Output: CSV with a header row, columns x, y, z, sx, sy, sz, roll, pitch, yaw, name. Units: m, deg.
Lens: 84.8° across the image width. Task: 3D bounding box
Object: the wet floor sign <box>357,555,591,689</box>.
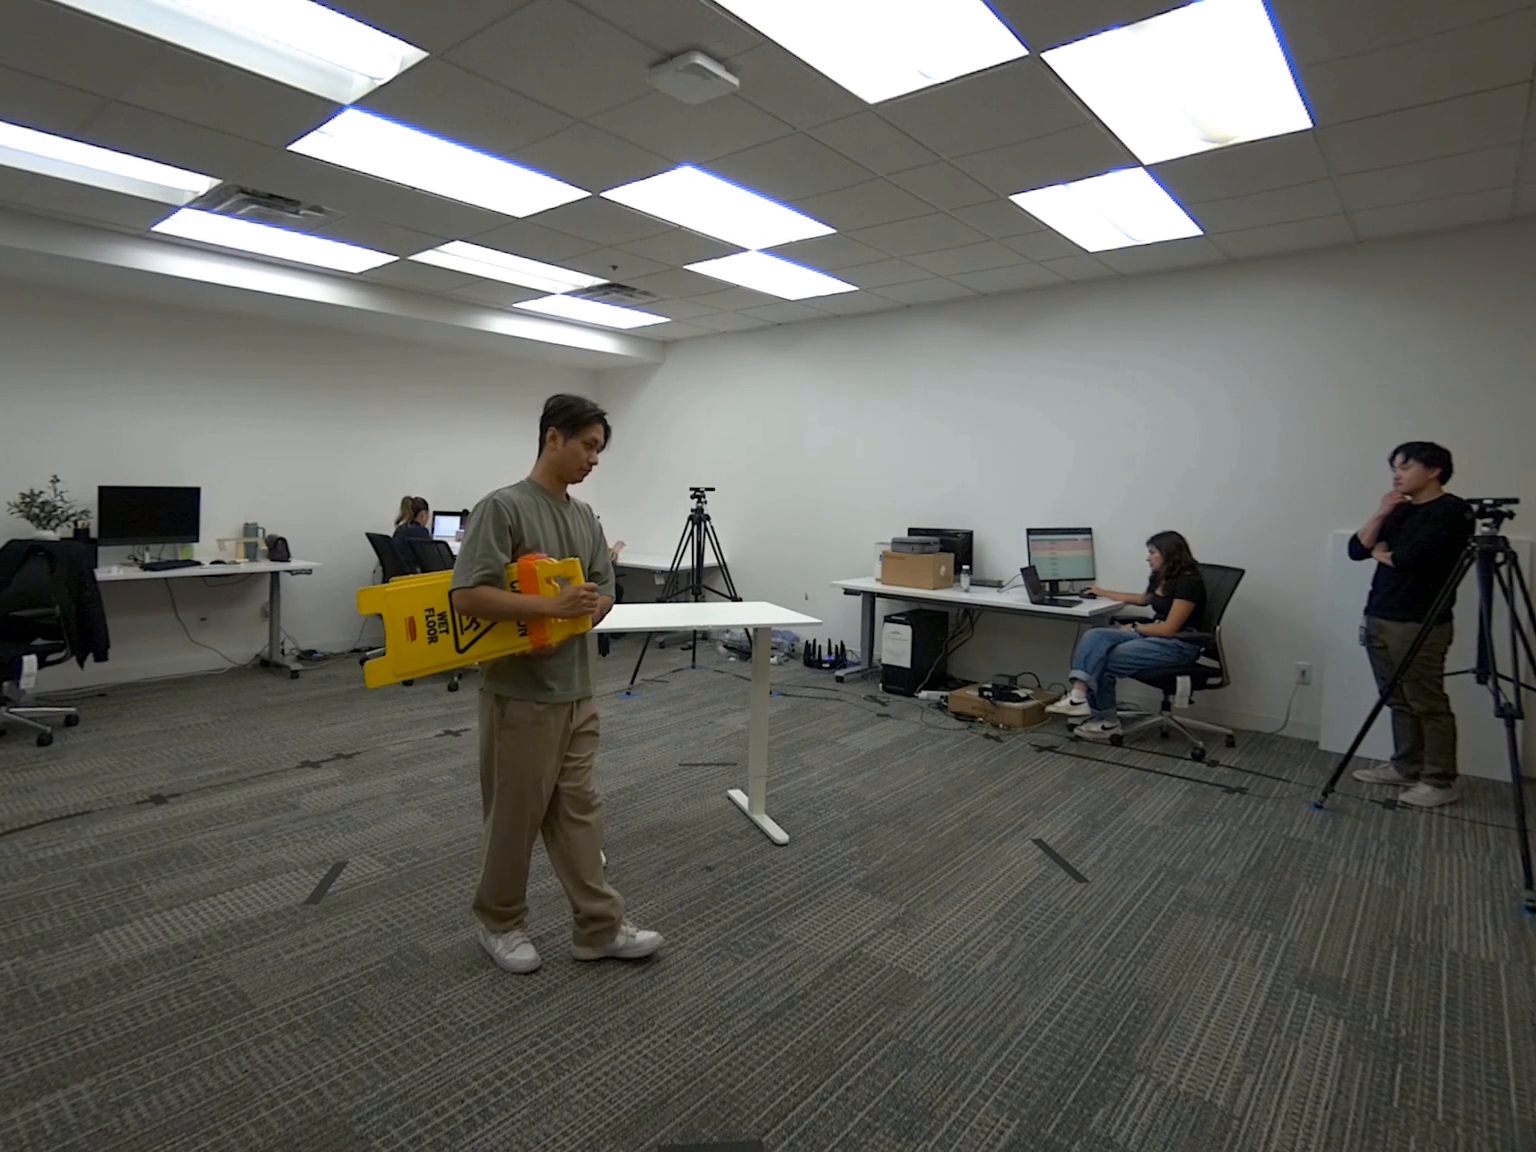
x,y,z,sx,sy,sz,roll,pitch,yaw,name
-0.793,0.107,2.321,0.655,0.283,0.285,-11,-1,17,wet floor sign
